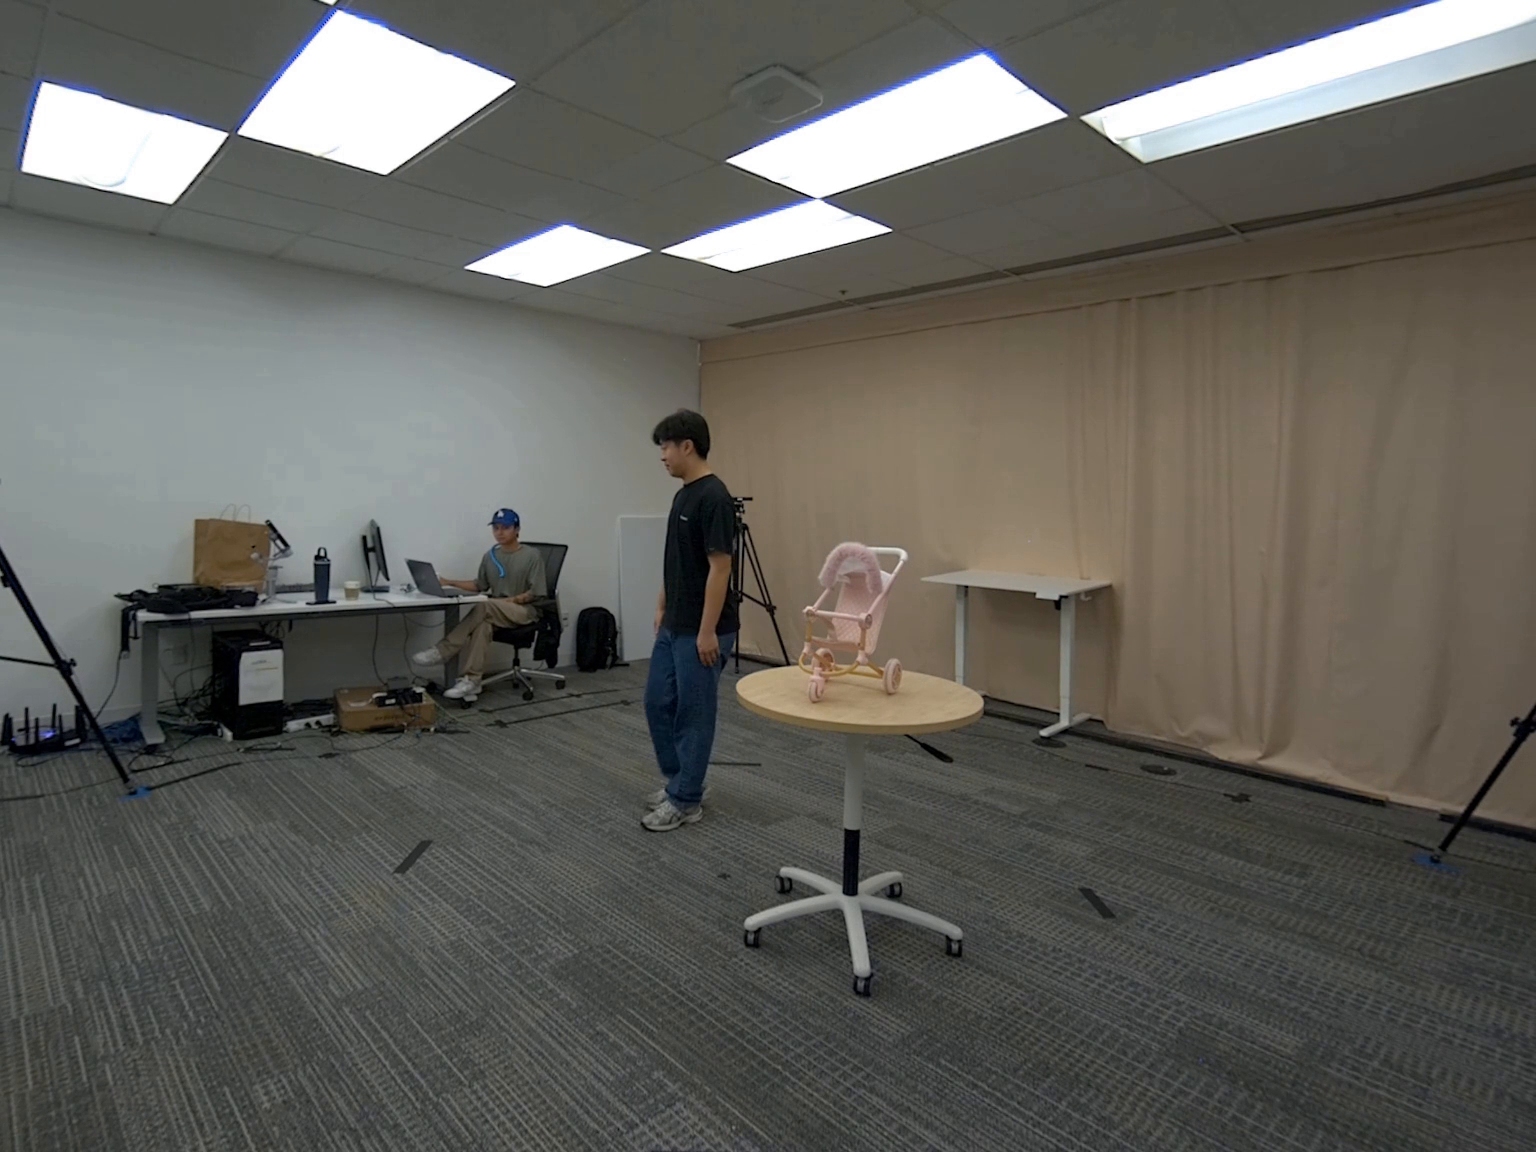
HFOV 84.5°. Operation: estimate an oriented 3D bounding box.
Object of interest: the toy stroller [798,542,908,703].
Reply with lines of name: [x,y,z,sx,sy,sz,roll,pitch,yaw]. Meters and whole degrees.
toy stroller: [0.245,0.139,2.626,0.288,0.537,0.331,4,-9,38]
